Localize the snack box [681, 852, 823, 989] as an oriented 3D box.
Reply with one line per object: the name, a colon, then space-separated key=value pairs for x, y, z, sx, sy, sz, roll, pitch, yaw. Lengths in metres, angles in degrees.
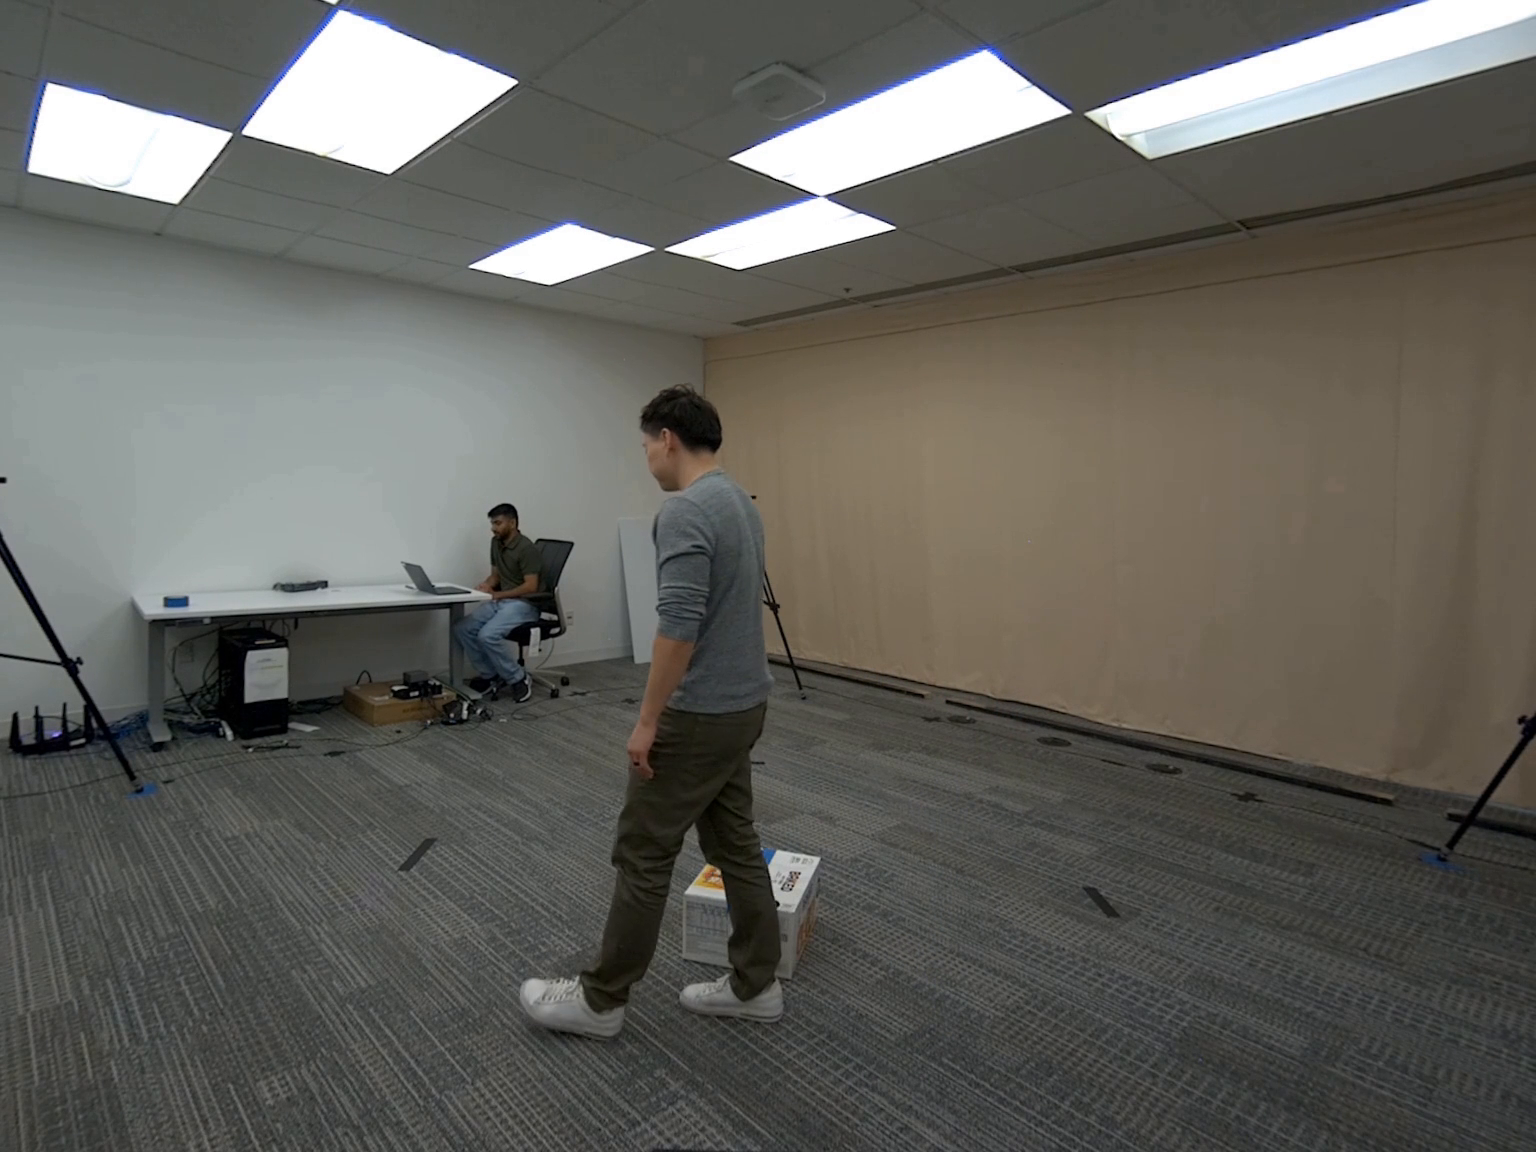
snack box: x=-0.041 y=1.048 z=2.652 sx=0.345 sy=0.205 sz=0.401 roll=2 pitch=5 yaw=16
